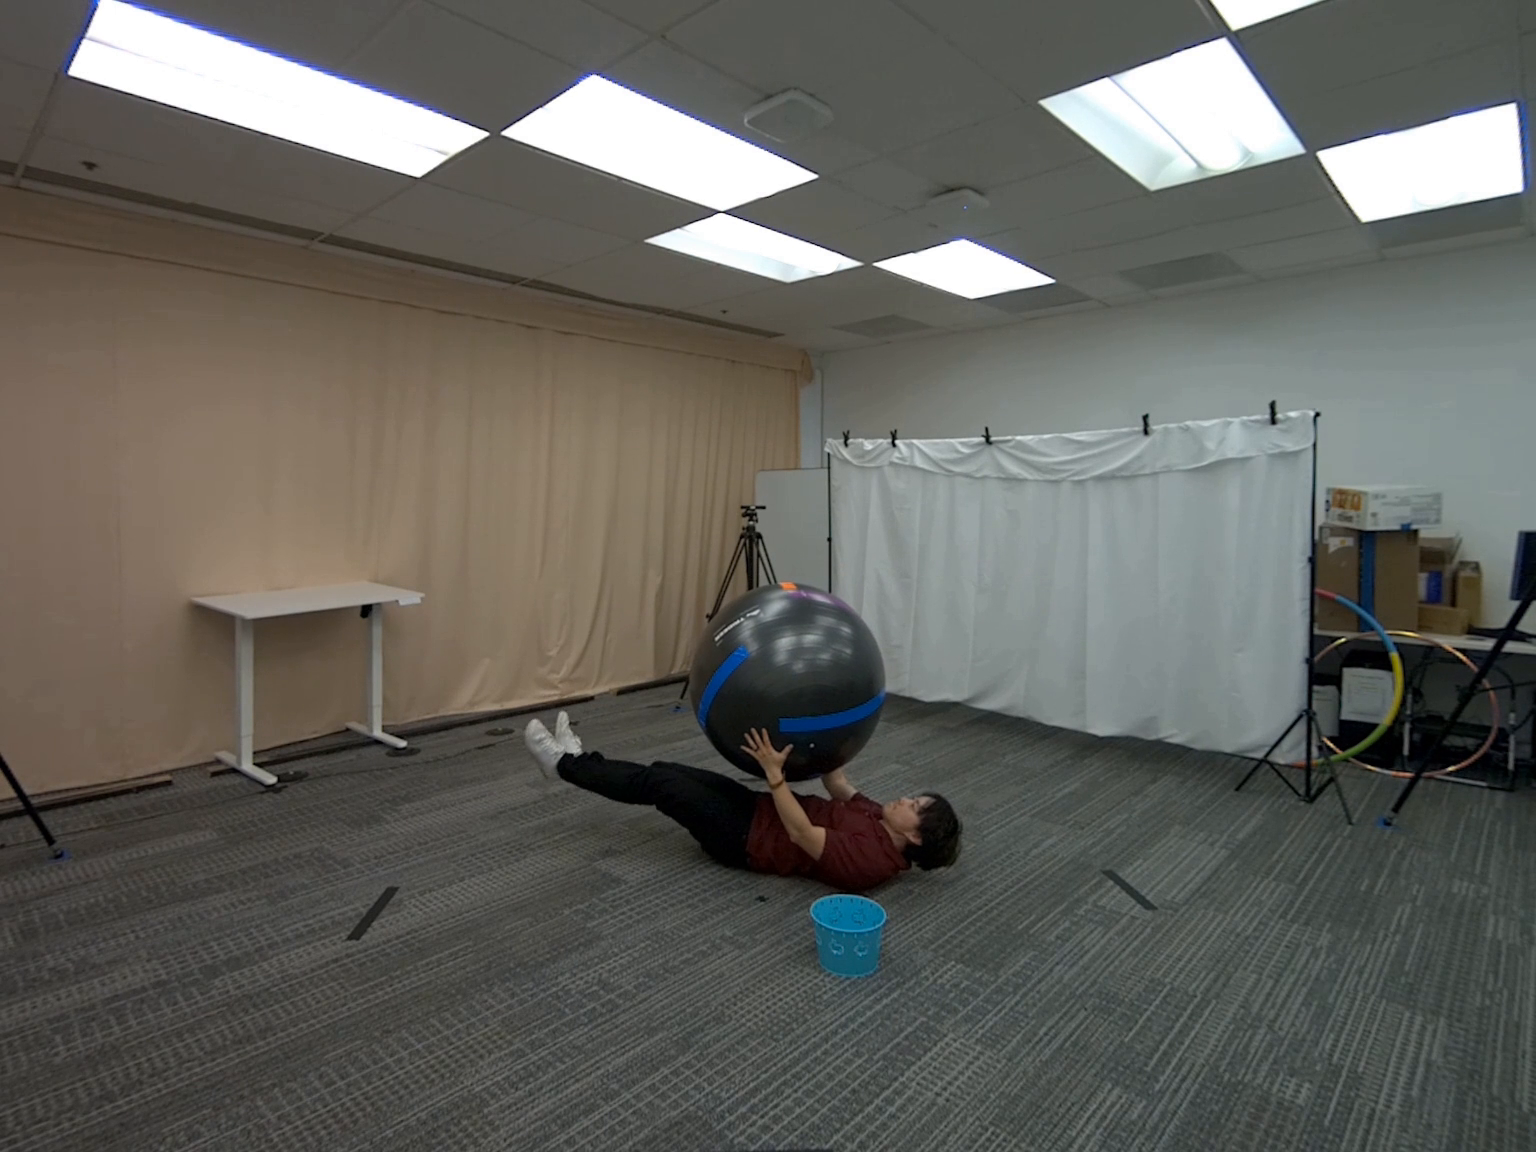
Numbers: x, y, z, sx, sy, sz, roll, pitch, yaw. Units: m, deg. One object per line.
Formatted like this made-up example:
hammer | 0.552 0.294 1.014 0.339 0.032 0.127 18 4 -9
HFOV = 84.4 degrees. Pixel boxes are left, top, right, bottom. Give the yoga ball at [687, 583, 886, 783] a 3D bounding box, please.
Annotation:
yoga ball | 0.071 0.409 3.276 0.757 0.756 0.760 0 4 -2
